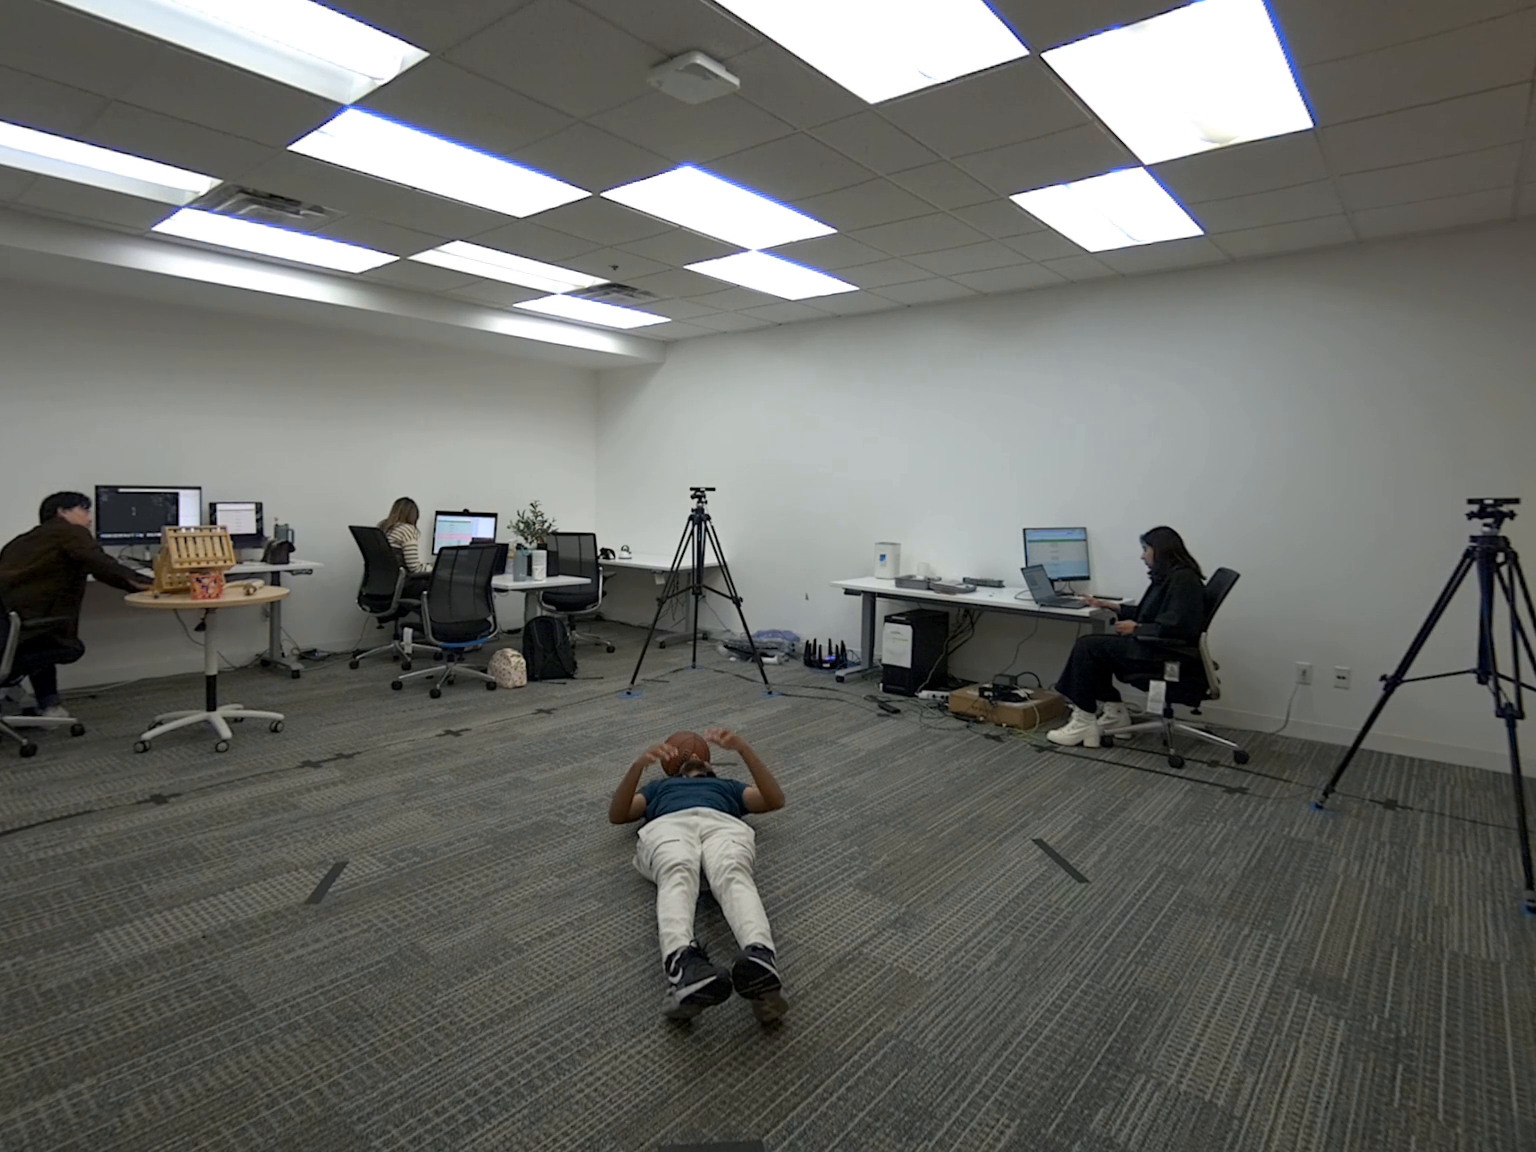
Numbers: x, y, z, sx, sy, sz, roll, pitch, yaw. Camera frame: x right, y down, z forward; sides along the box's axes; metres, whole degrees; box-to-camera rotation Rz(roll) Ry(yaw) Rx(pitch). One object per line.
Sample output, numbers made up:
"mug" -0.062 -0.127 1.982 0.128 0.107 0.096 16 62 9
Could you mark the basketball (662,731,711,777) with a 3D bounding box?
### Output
"basketball" -0.404 0.852 4.037 0.235 0.235 0.237 1 4 -2
